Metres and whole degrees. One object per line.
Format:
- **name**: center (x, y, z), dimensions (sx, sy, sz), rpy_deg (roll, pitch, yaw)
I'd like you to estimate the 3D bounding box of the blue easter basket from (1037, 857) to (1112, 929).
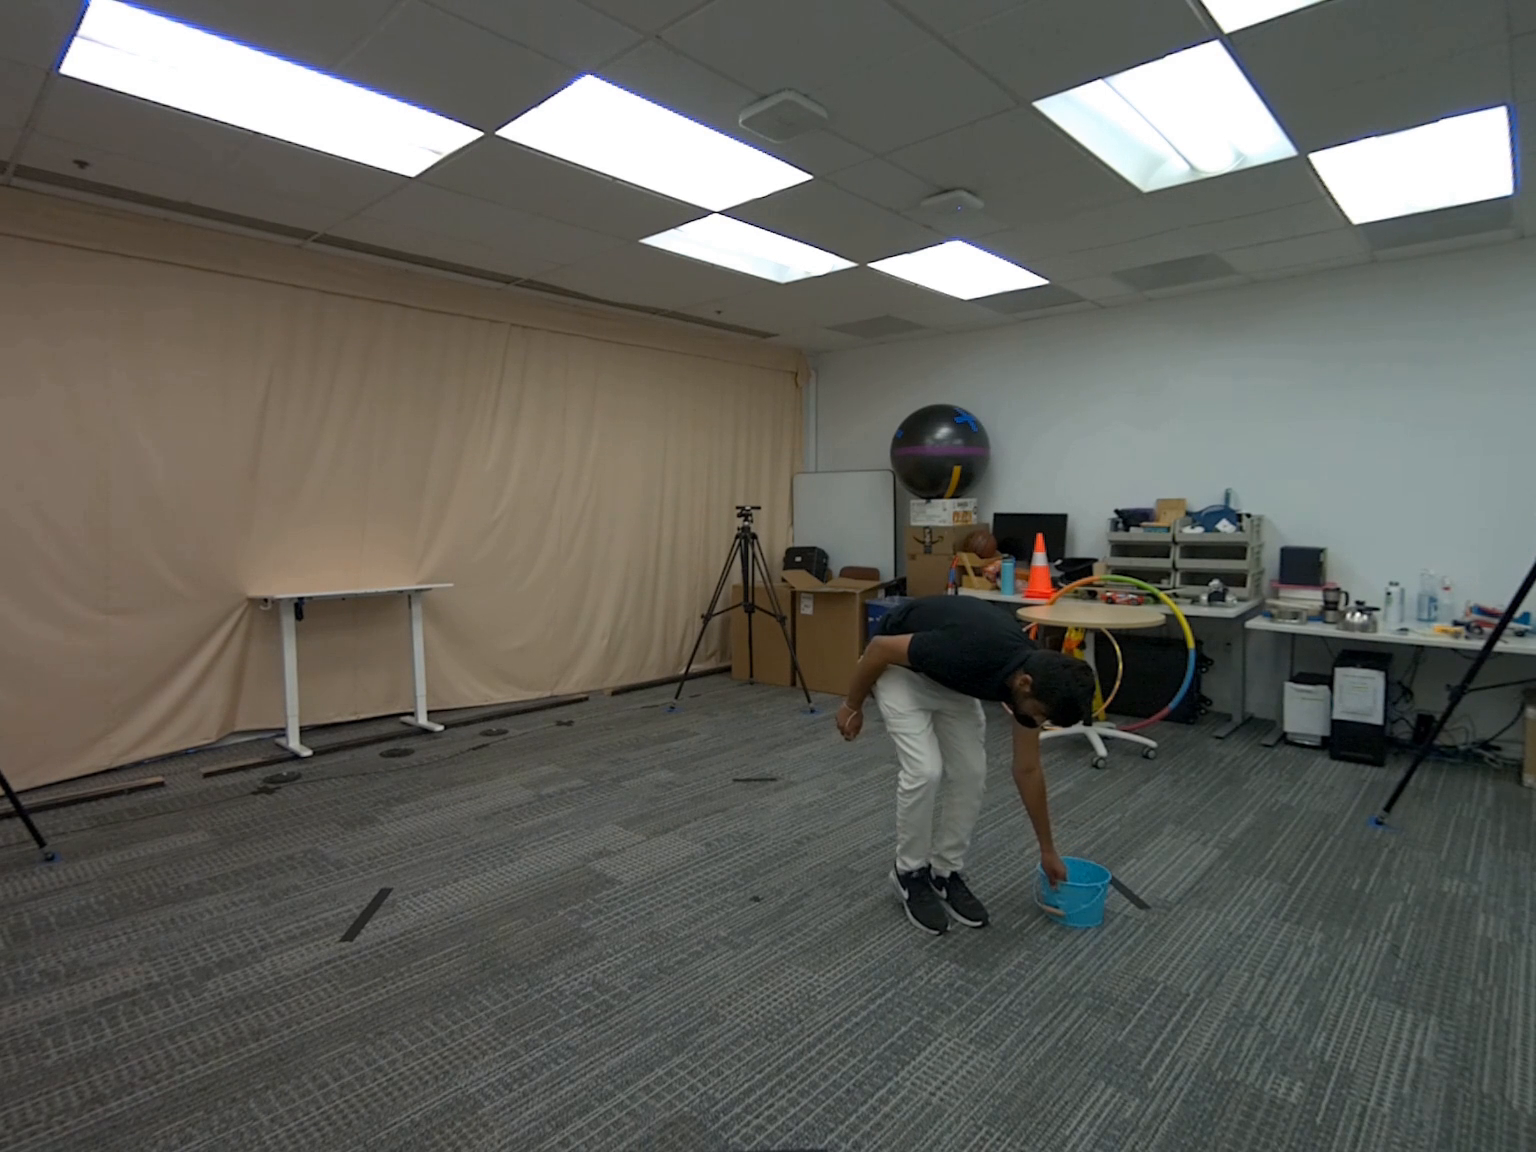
- **blue easter basket**: center (1.043, 1.082, 2.856), dimensions (0.243, 0.155, 0.244), rpy_deg (1, 3, -2)
